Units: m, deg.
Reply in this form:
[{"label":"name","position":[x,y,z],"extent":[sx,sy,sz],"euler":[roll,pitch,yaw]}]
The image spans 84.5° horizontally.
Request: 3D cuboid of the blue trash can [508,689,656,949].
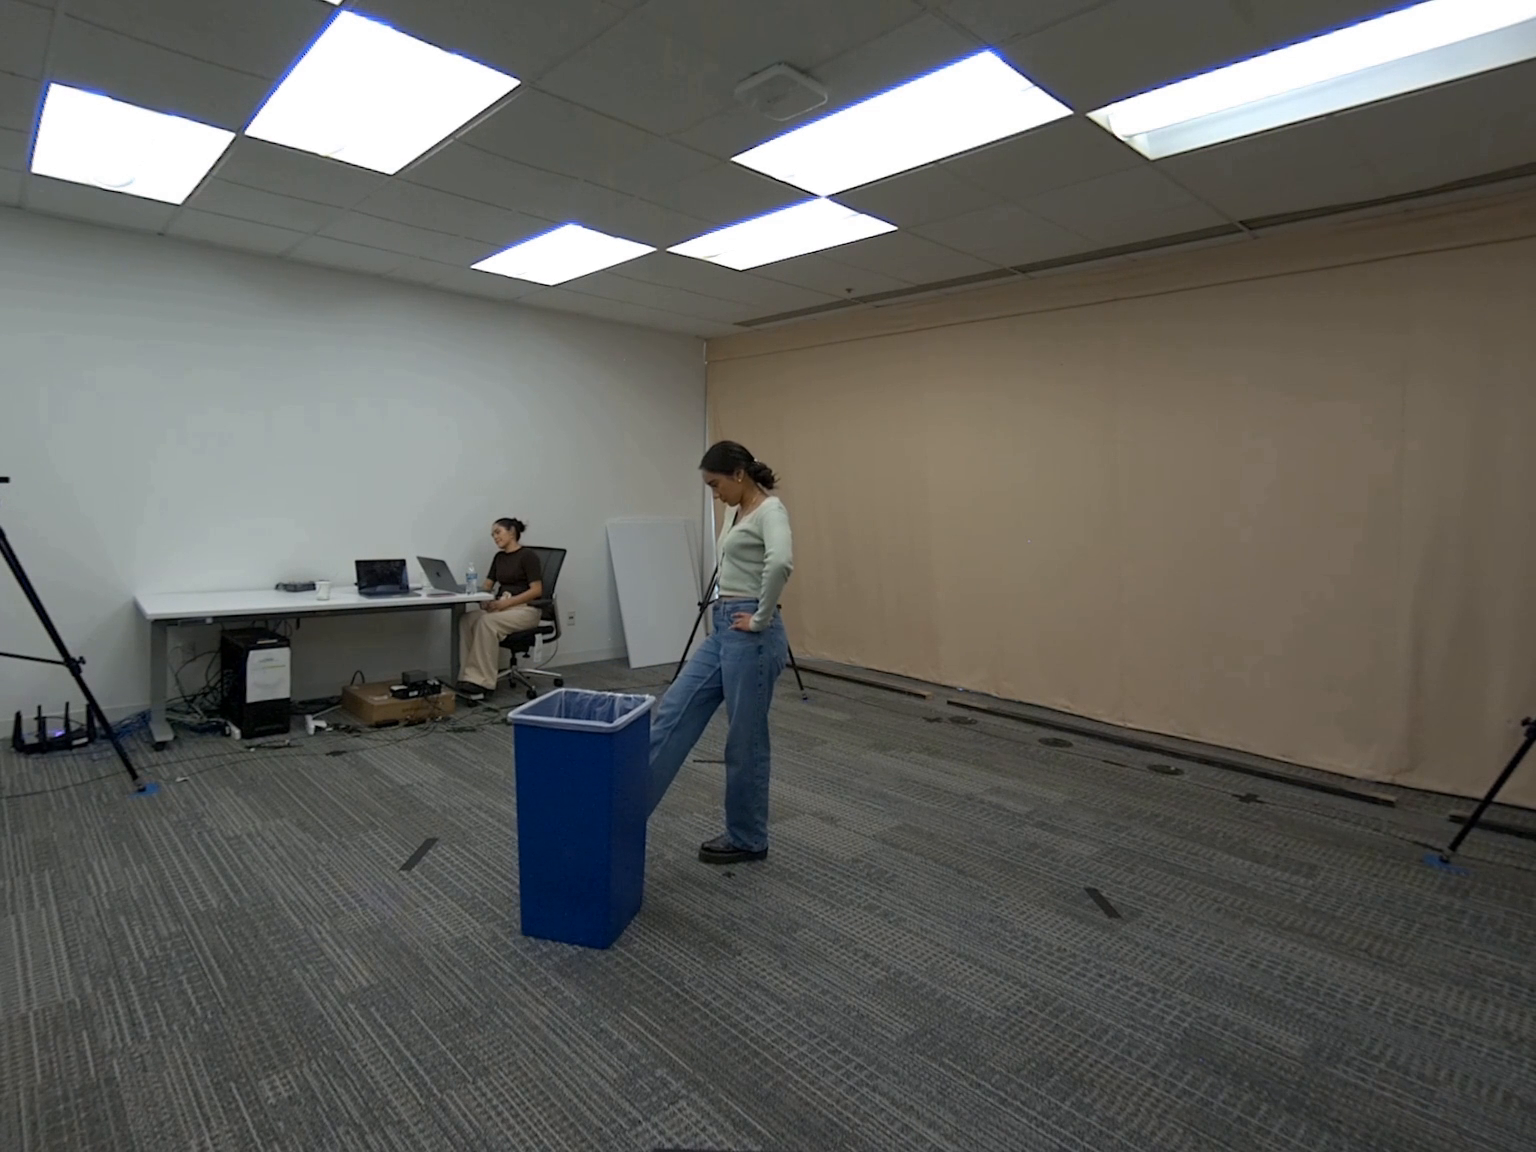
[{"label":"blue trash can","position":[-0.608,0.770,2.718],"extent":[0.379,0.711,0.375],"euler":[3,4,14]}]
